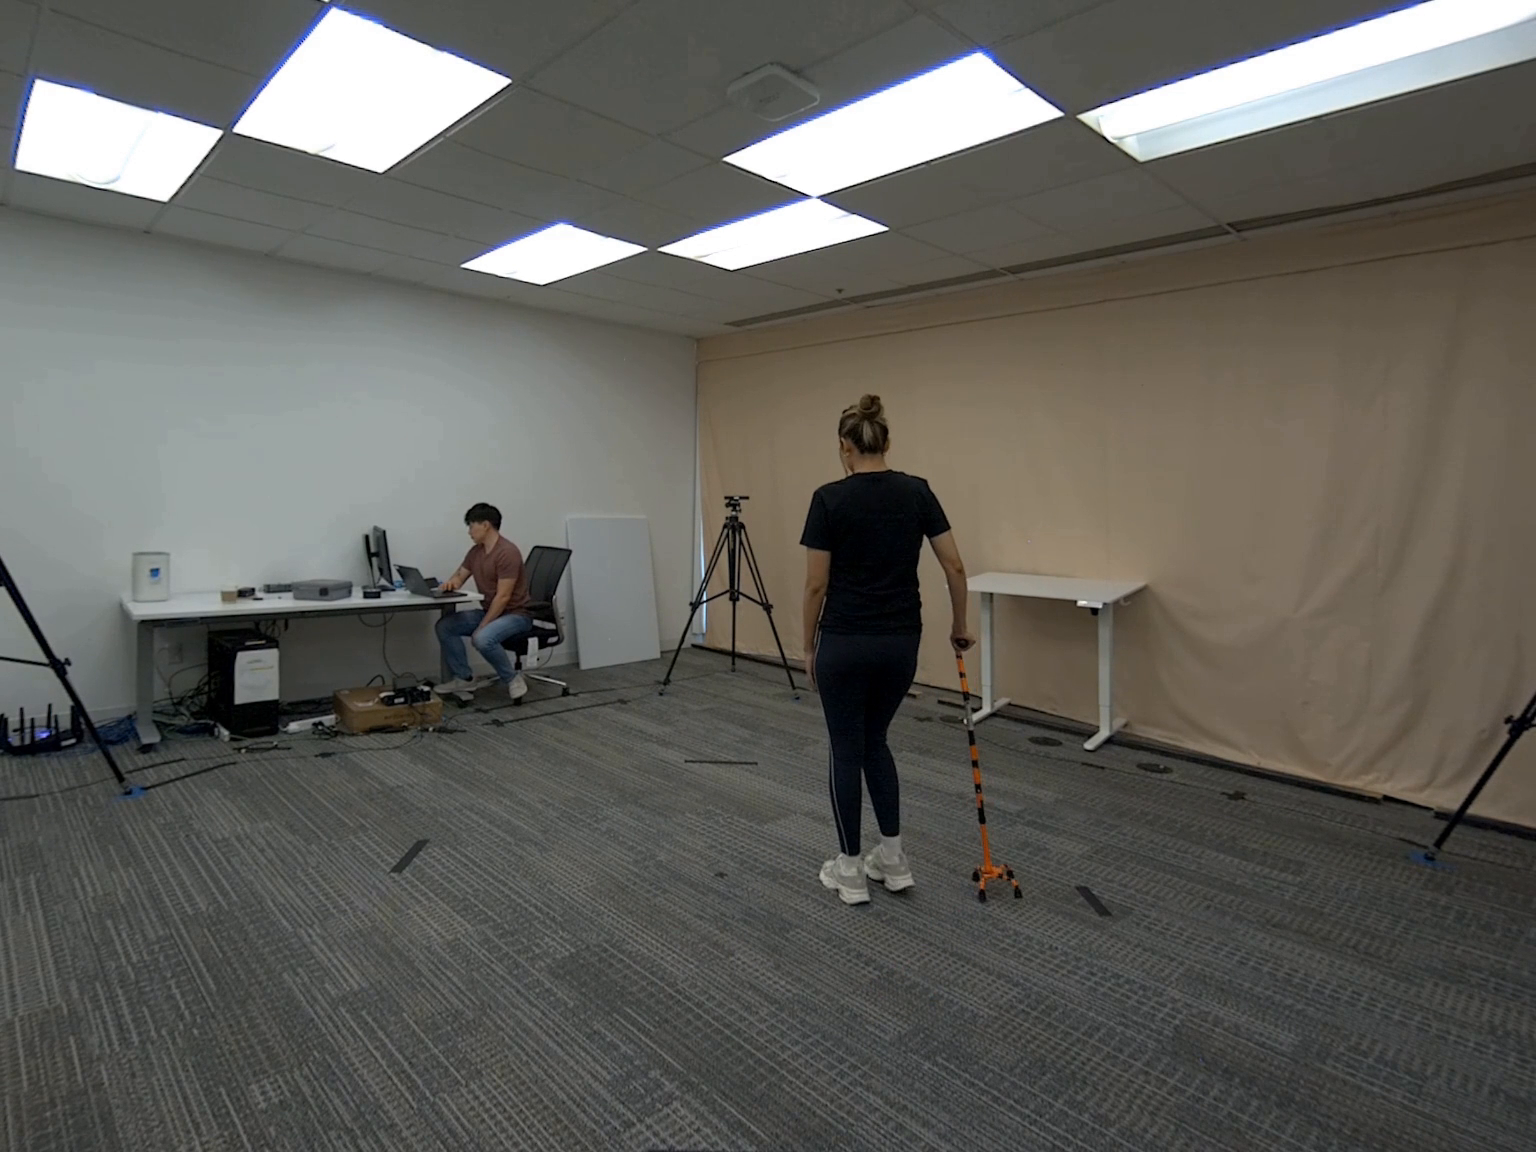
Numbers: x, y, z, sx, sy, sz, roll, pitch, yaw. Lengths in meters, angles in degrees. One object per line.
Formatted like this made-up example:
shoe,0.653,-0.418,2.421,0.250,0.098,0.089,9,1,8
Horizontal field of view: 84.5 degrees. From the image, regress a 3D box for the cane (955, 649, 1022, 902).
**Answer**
cane,0.762,0.671,3.044,0.152,0.910,0.205,-7,-2,8
